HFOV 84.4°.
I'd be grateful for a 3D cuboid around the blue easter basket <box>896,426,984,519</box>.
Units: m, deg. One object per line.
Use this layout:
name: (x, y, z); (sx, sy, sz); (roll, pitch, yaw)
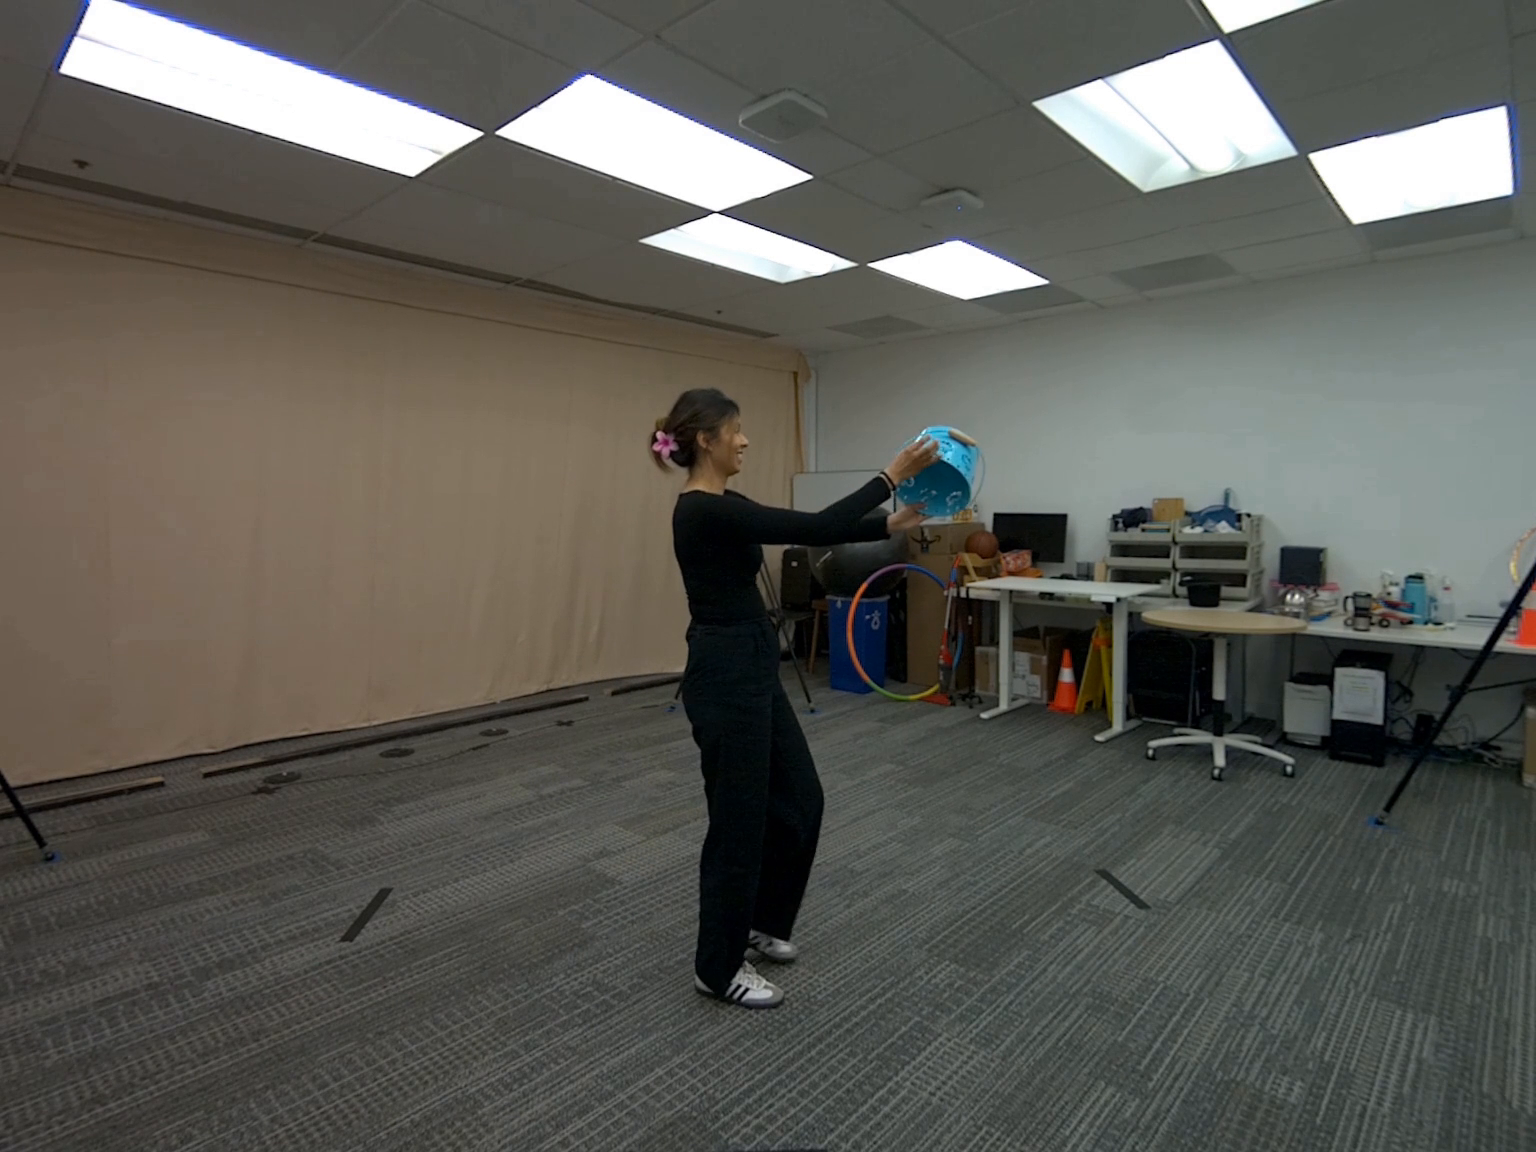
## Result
blue easter basket: (0.496, -0.304, 2.351); (0.251, 0.236, 0.156); (3, 48, 37)
